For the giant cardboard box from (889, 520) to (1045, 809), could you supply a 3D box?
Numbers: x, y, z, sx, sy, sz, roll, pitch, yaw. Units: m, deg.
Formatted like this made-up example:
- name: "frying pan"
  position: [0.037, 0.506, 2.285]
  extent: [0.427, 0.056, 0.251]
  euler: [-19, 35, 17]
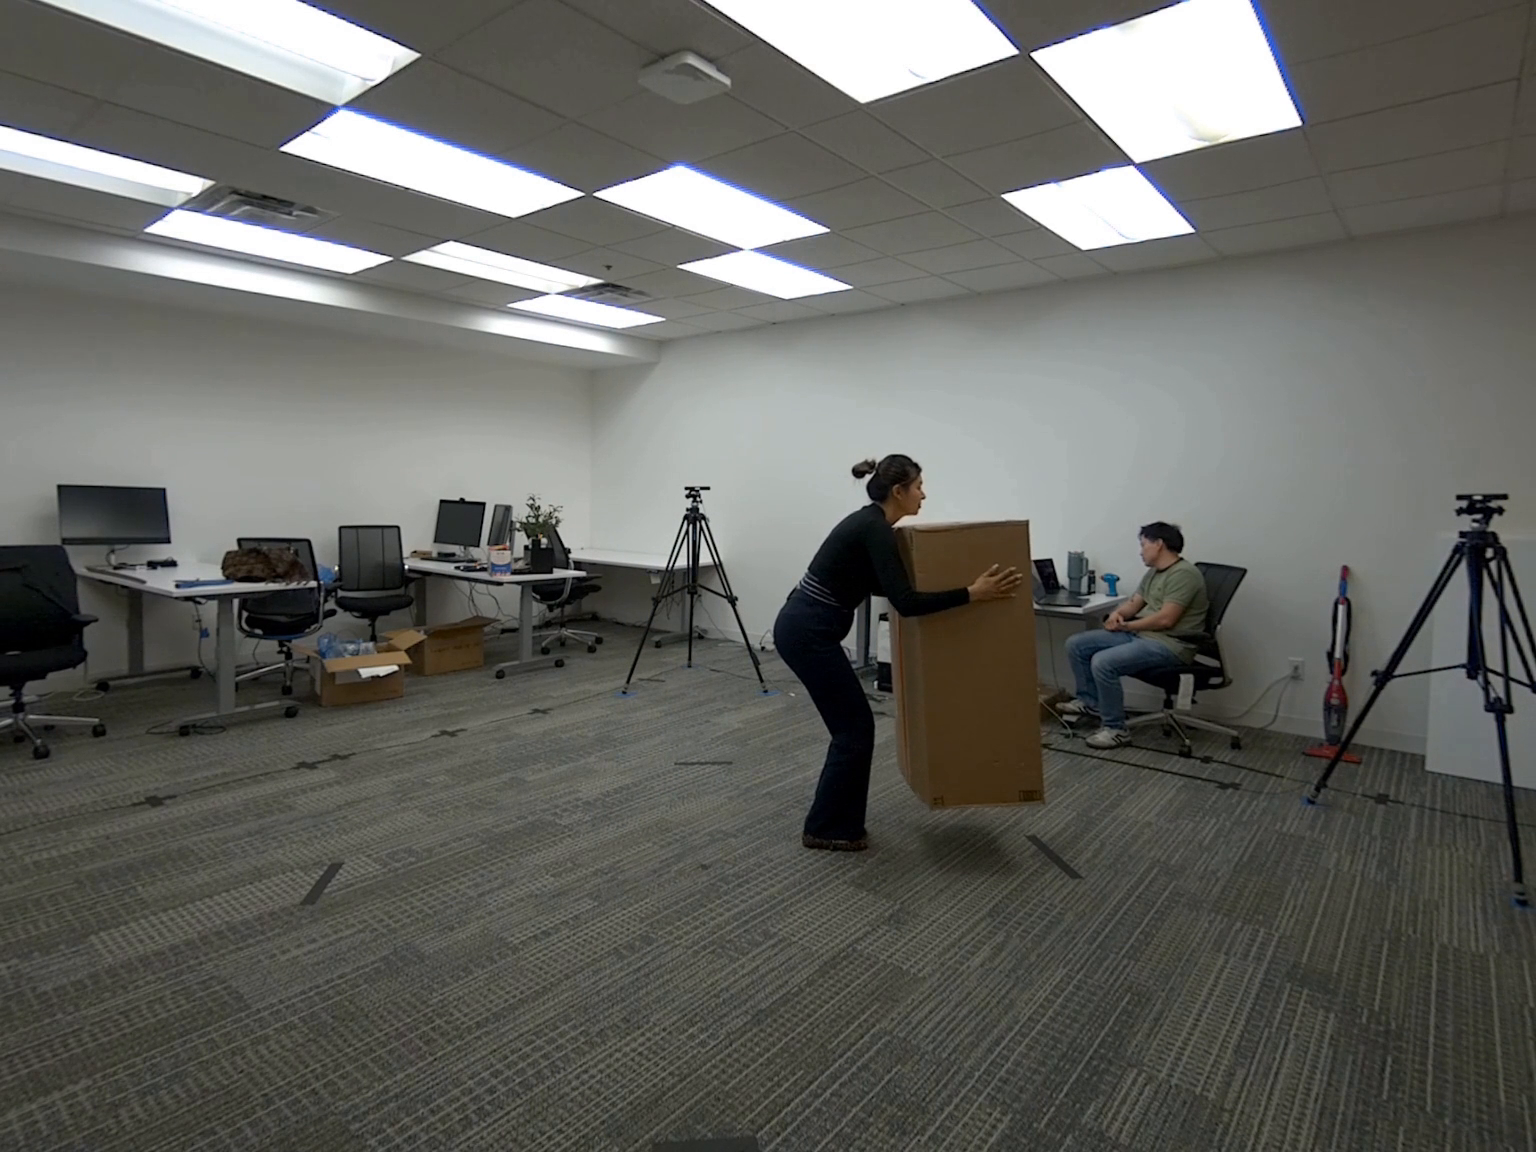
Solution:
- name: "giant cardboard box"
  position: [0.739, 0.307, 3.339]
  extent: [0.426, 1.025, 0.579]
  euler: [-4, 2, -2]
